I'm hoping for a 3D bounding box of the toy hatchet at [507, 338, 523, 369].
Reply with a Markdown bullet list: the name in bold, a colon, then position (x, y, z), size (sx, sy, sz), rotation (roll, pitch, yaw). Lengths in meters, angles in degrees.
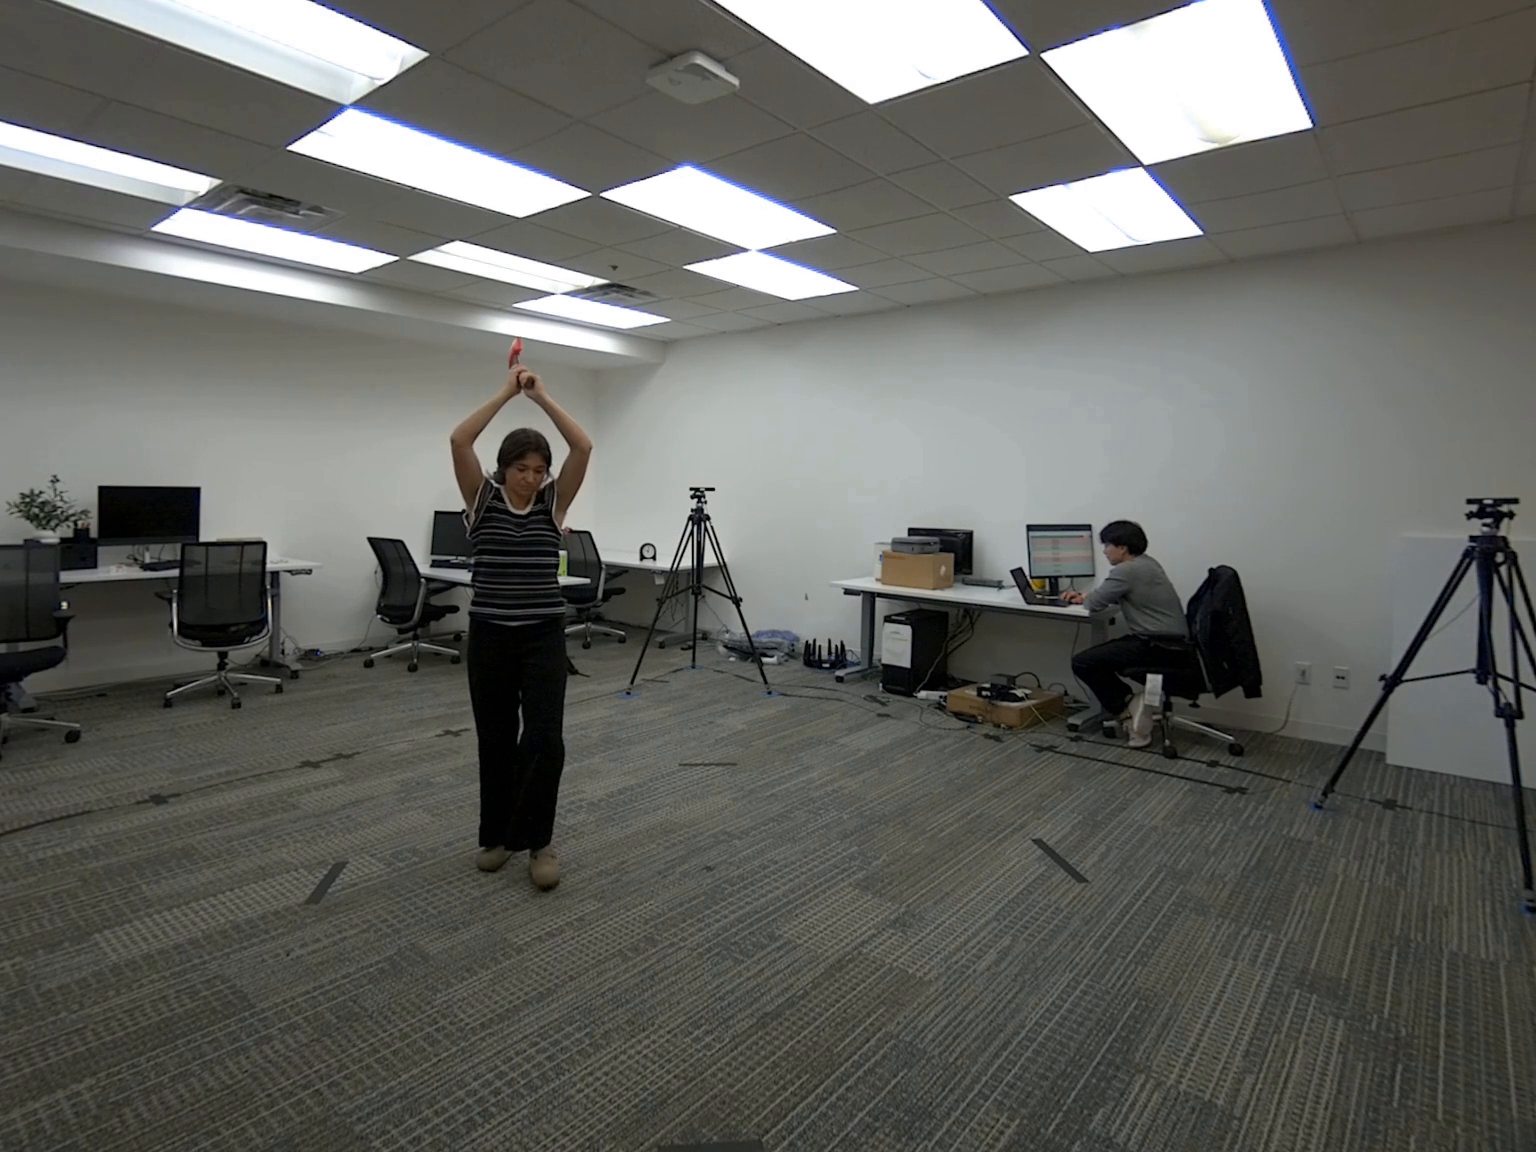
- **toy hatchet**: position (-0.872, -0.758, 2.977), size (0.029, 0.129, 0.281), rotation (3, 24, -34)
